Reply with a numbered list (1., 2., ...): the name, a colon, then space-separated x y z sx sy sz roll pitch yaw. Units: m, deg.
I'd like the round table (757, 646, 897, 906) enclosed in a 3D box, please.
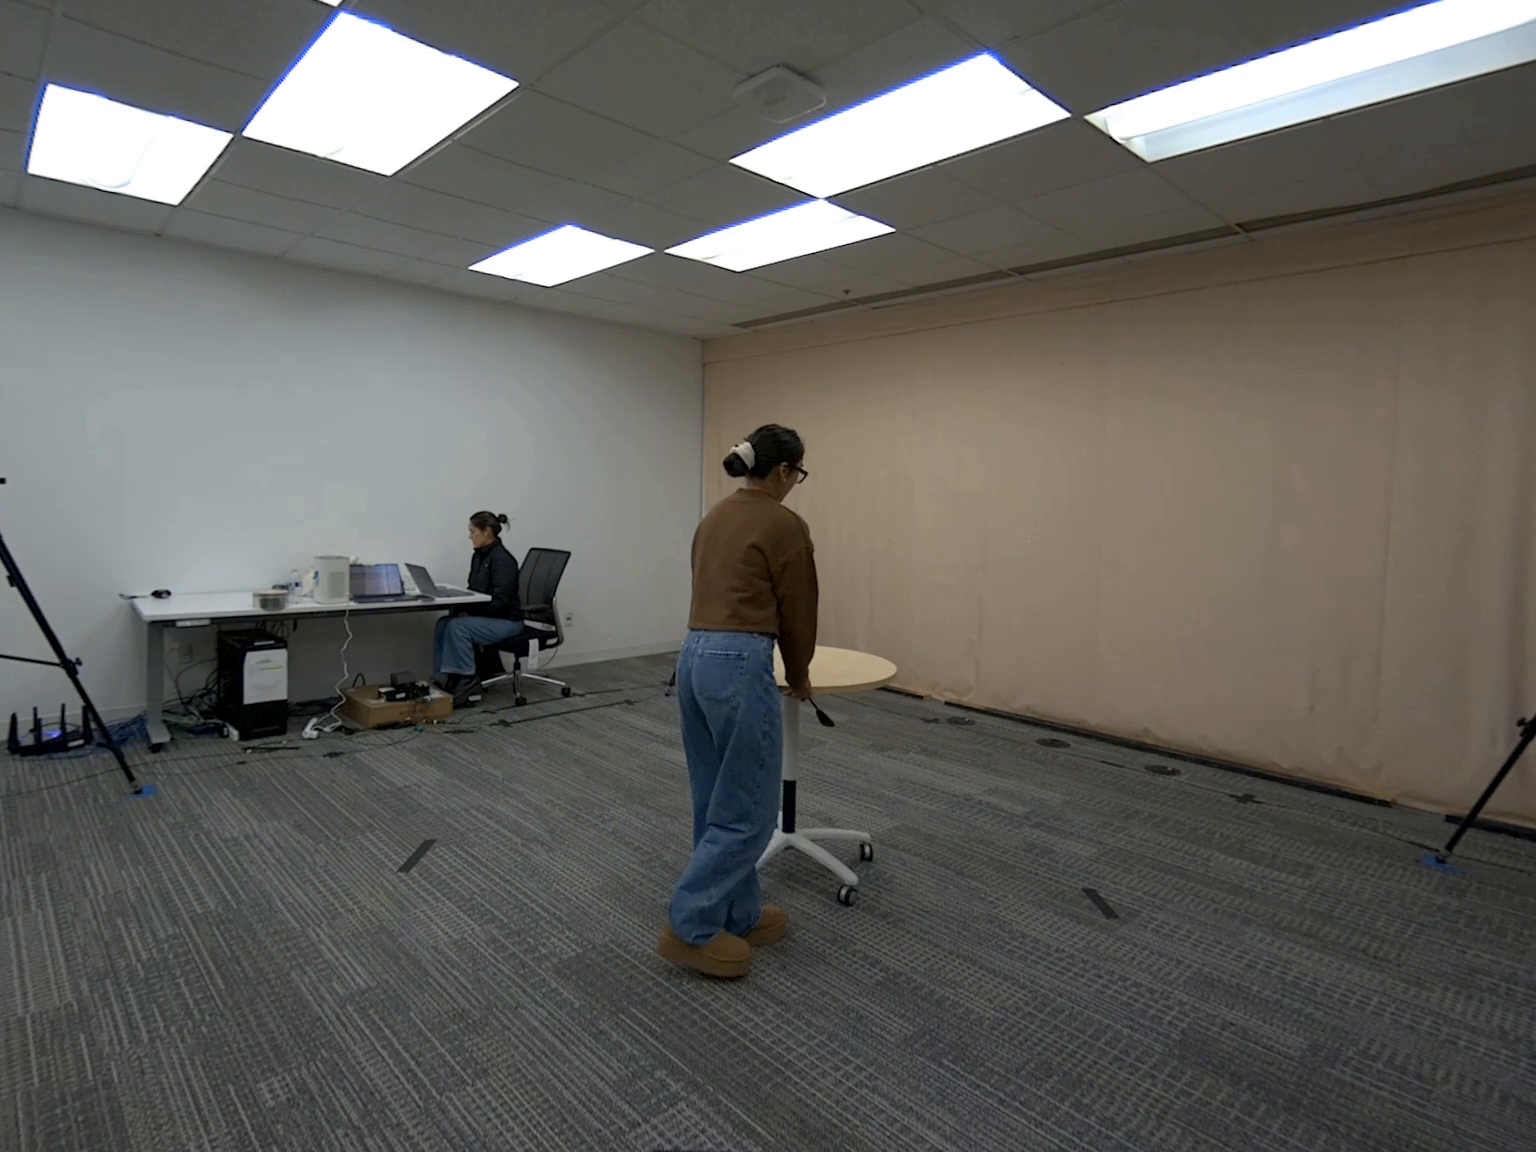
1. round table: 0.082 0.715 3.145 0.784 0.784 0.788 1 4 -1
